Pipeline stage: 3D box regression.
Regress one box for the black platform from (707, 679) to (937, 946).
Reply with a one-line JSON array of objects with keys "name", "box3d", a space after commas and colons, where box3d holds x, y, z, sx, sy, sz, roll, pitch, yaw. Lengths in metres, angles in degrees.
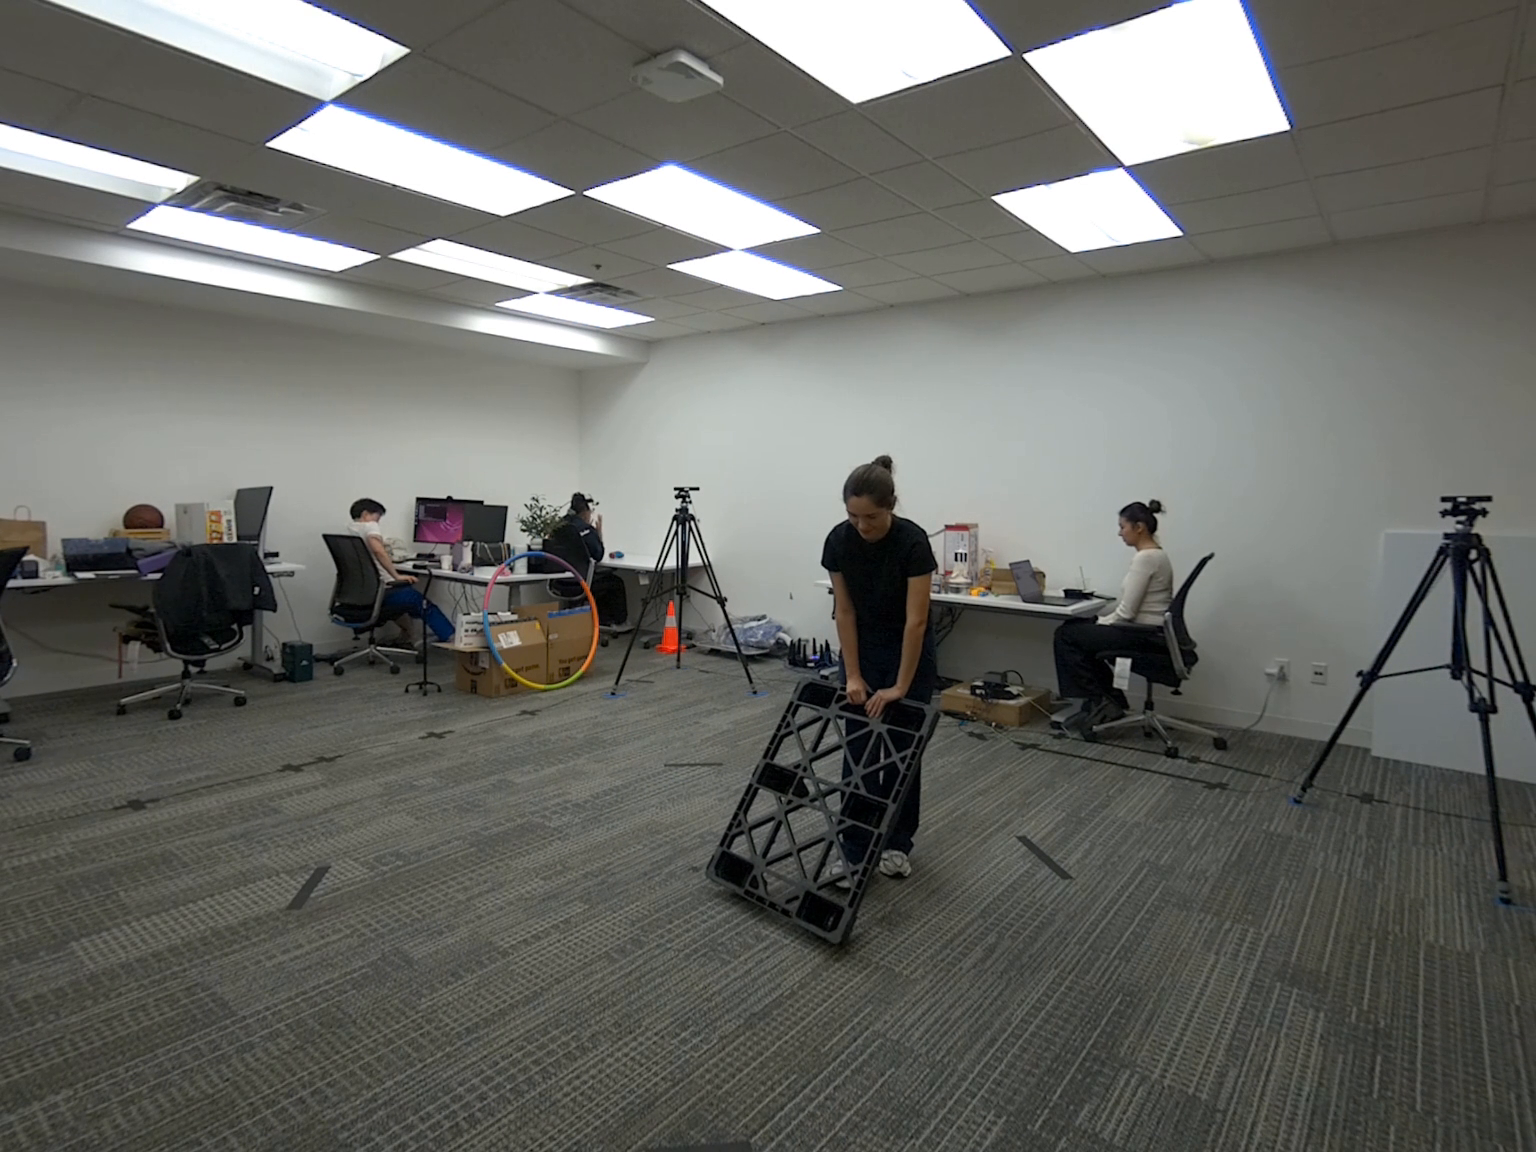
[{"name": "black platform", "box3d": [0.213, 0.763, 2.911, 0.626, 0.811, 0.137, 5, -31, 46]}]
